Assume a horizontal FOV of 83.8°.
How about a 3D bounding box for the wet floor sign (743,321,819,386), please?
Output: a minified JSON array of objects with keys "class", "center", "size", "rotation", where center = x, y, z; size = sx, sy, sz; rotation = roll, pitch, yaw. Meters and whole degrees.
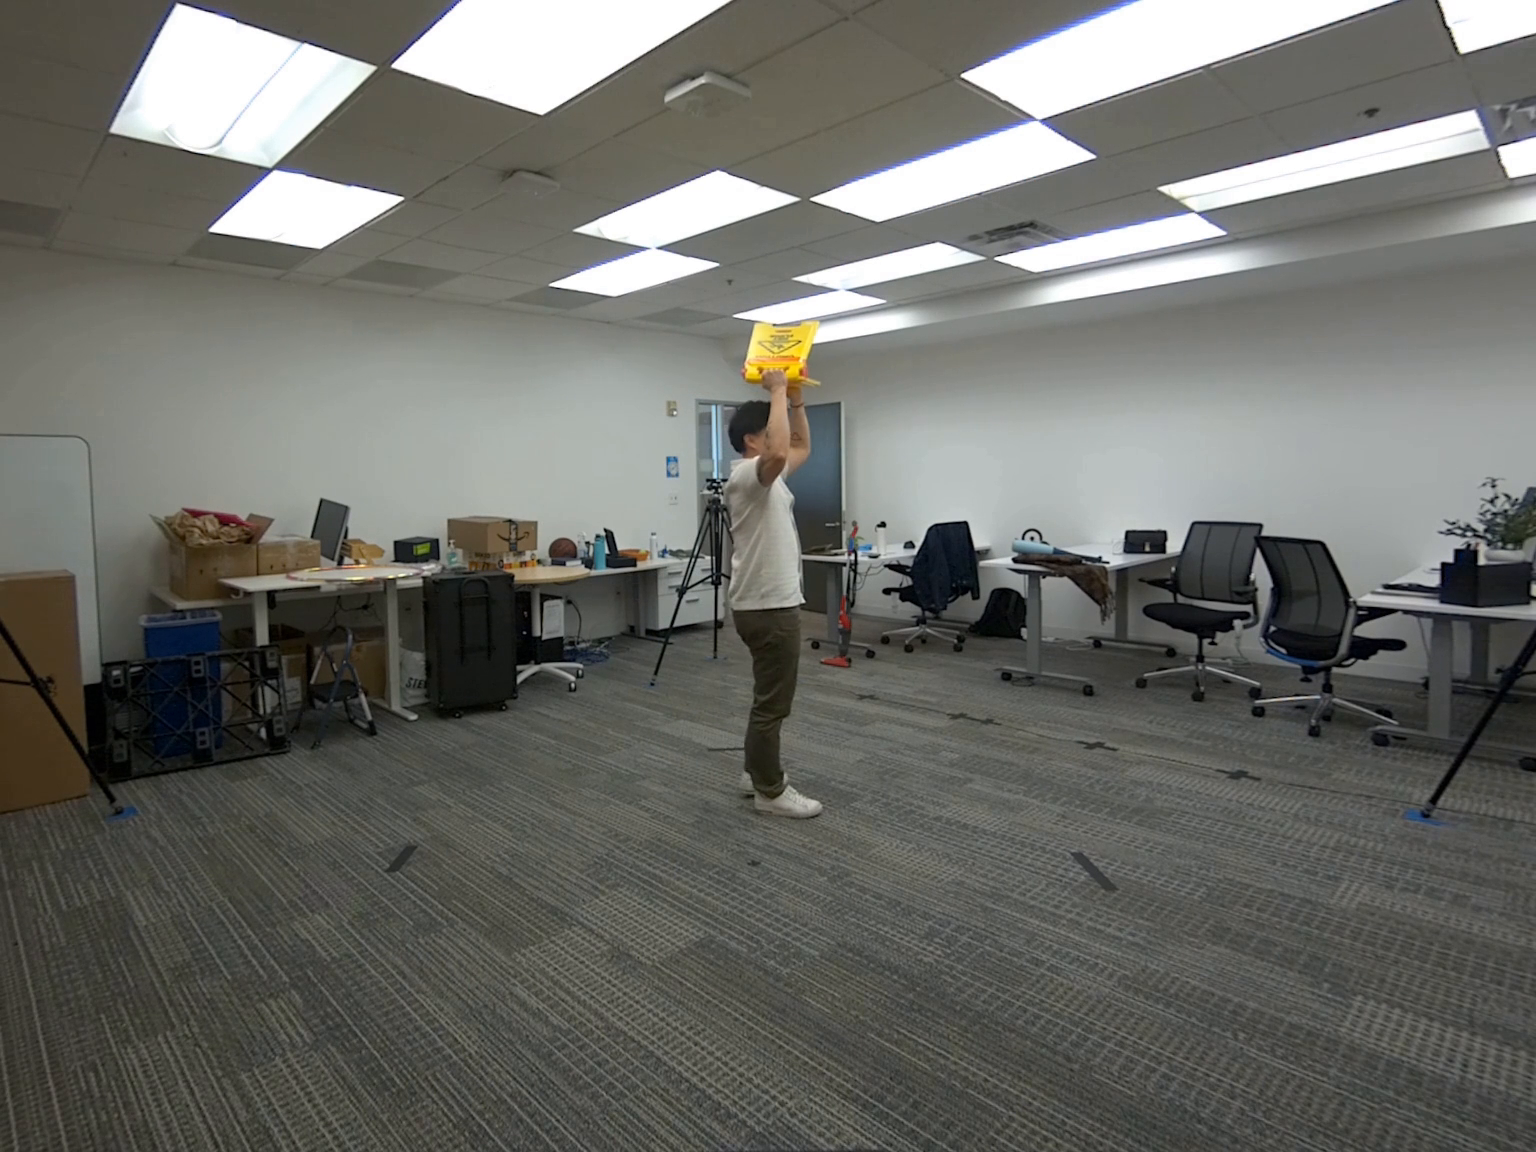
[{"class":"wet floor sign","center":[0.047,-0.851,3.448],"size":[0.285,0.284,0.652],"rotation":[0,22,7]}]
